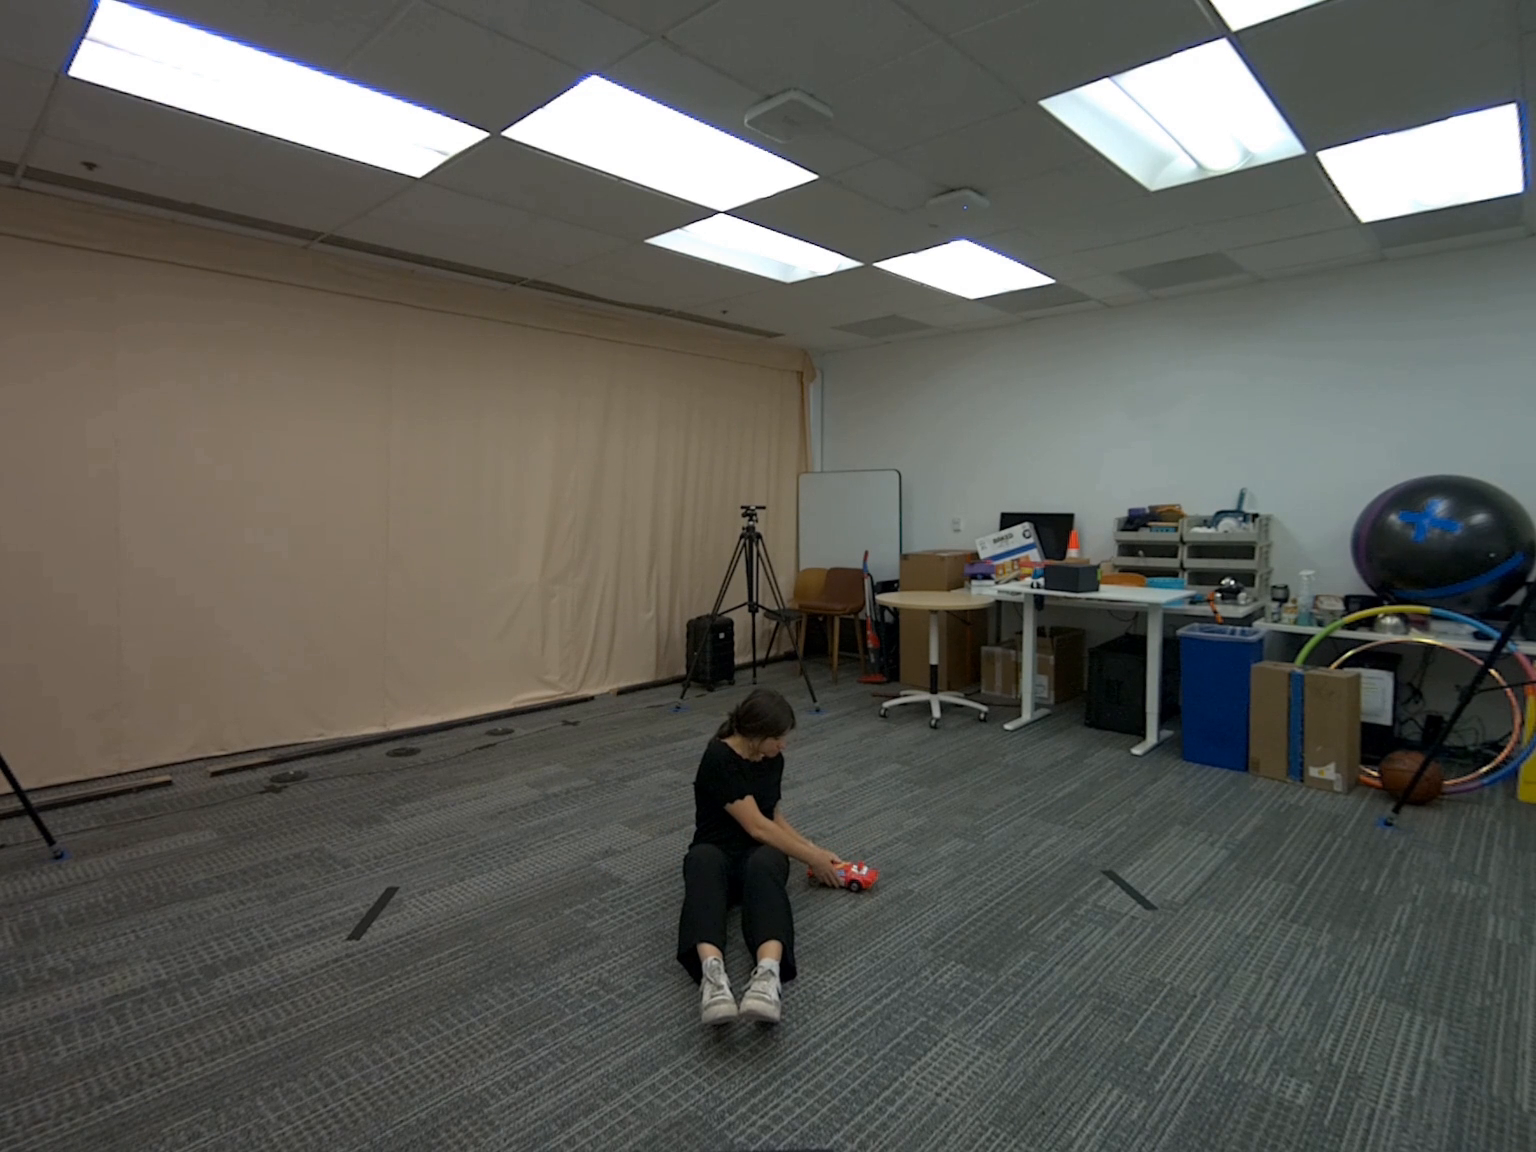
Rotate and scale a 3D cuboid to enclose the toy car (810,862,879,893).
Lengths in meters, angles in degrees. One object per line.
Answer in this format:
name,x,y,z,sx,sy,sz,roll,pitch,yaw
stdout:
toy car,0.286,1.102,3.086,0.259,0.083,0.128,-9,3,21
